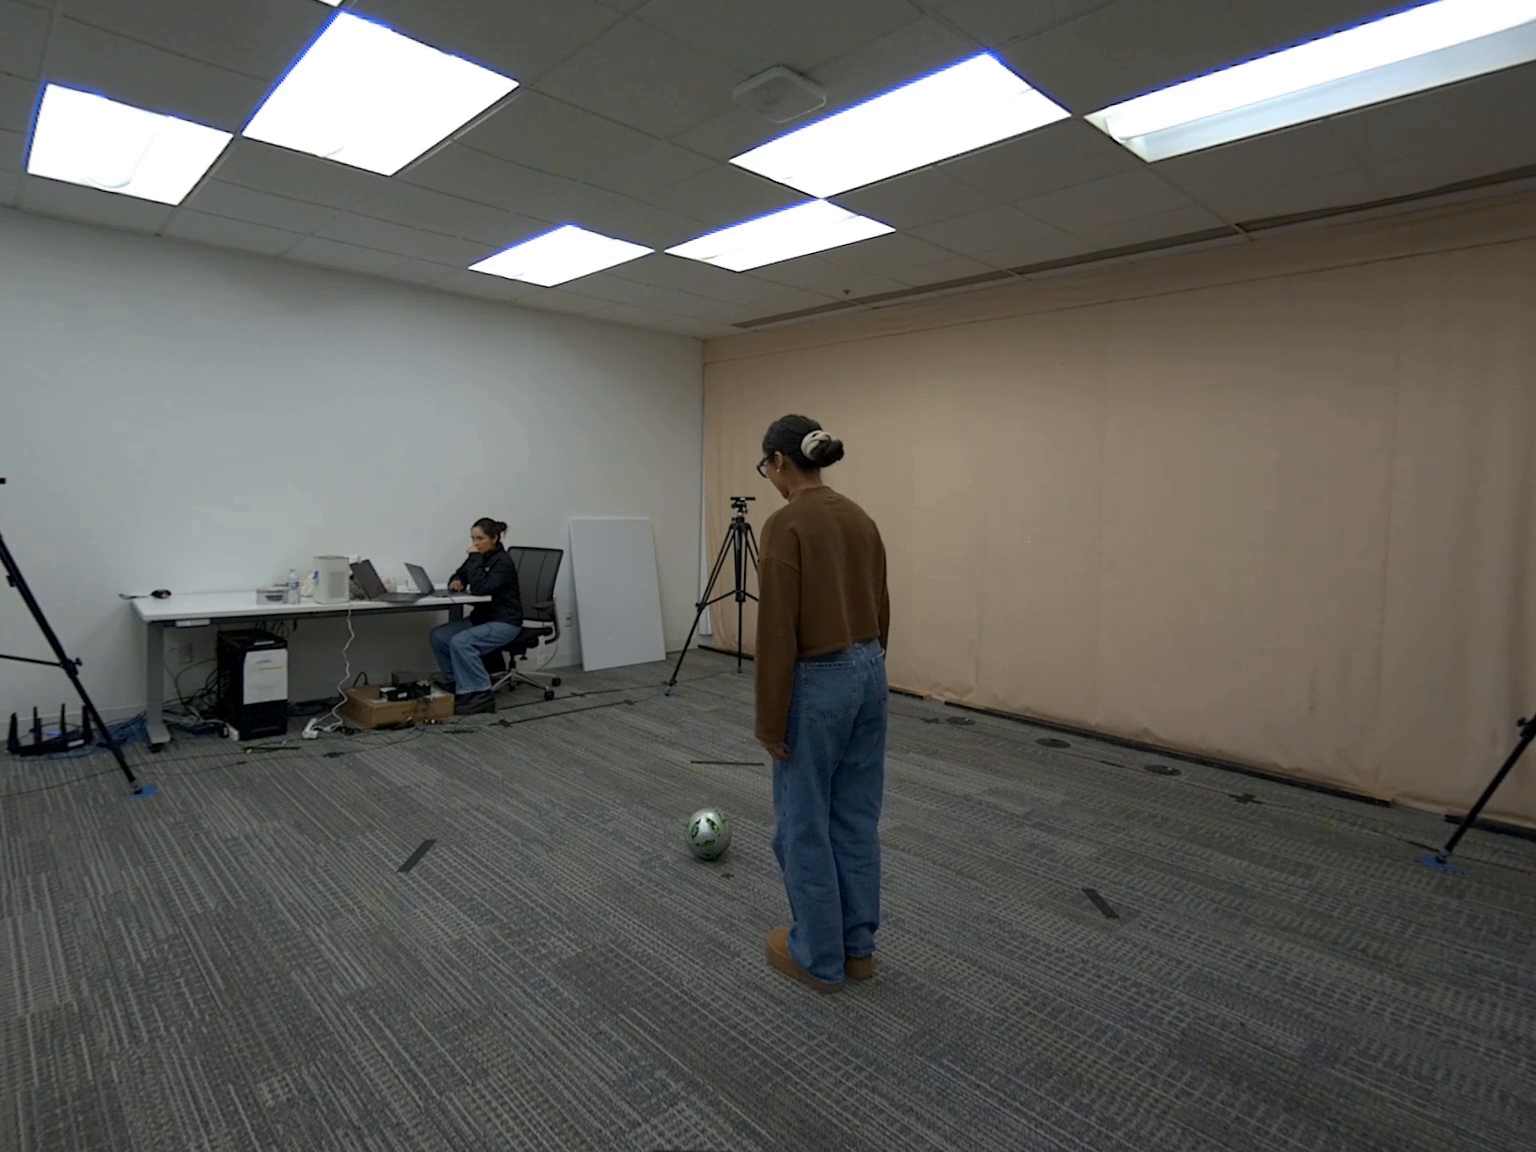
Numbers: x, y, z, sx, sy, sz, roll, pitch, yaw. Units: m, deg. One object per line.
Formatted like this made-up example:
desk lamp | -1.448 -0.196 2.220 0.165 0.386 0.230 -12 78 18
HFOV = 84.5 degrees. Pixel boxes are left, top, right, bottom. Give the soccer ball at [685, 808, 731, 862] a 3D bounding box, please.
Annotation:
soccer ball | -0.238 0.994 3.257 0.187 0.187 0.188 1 4 -1
